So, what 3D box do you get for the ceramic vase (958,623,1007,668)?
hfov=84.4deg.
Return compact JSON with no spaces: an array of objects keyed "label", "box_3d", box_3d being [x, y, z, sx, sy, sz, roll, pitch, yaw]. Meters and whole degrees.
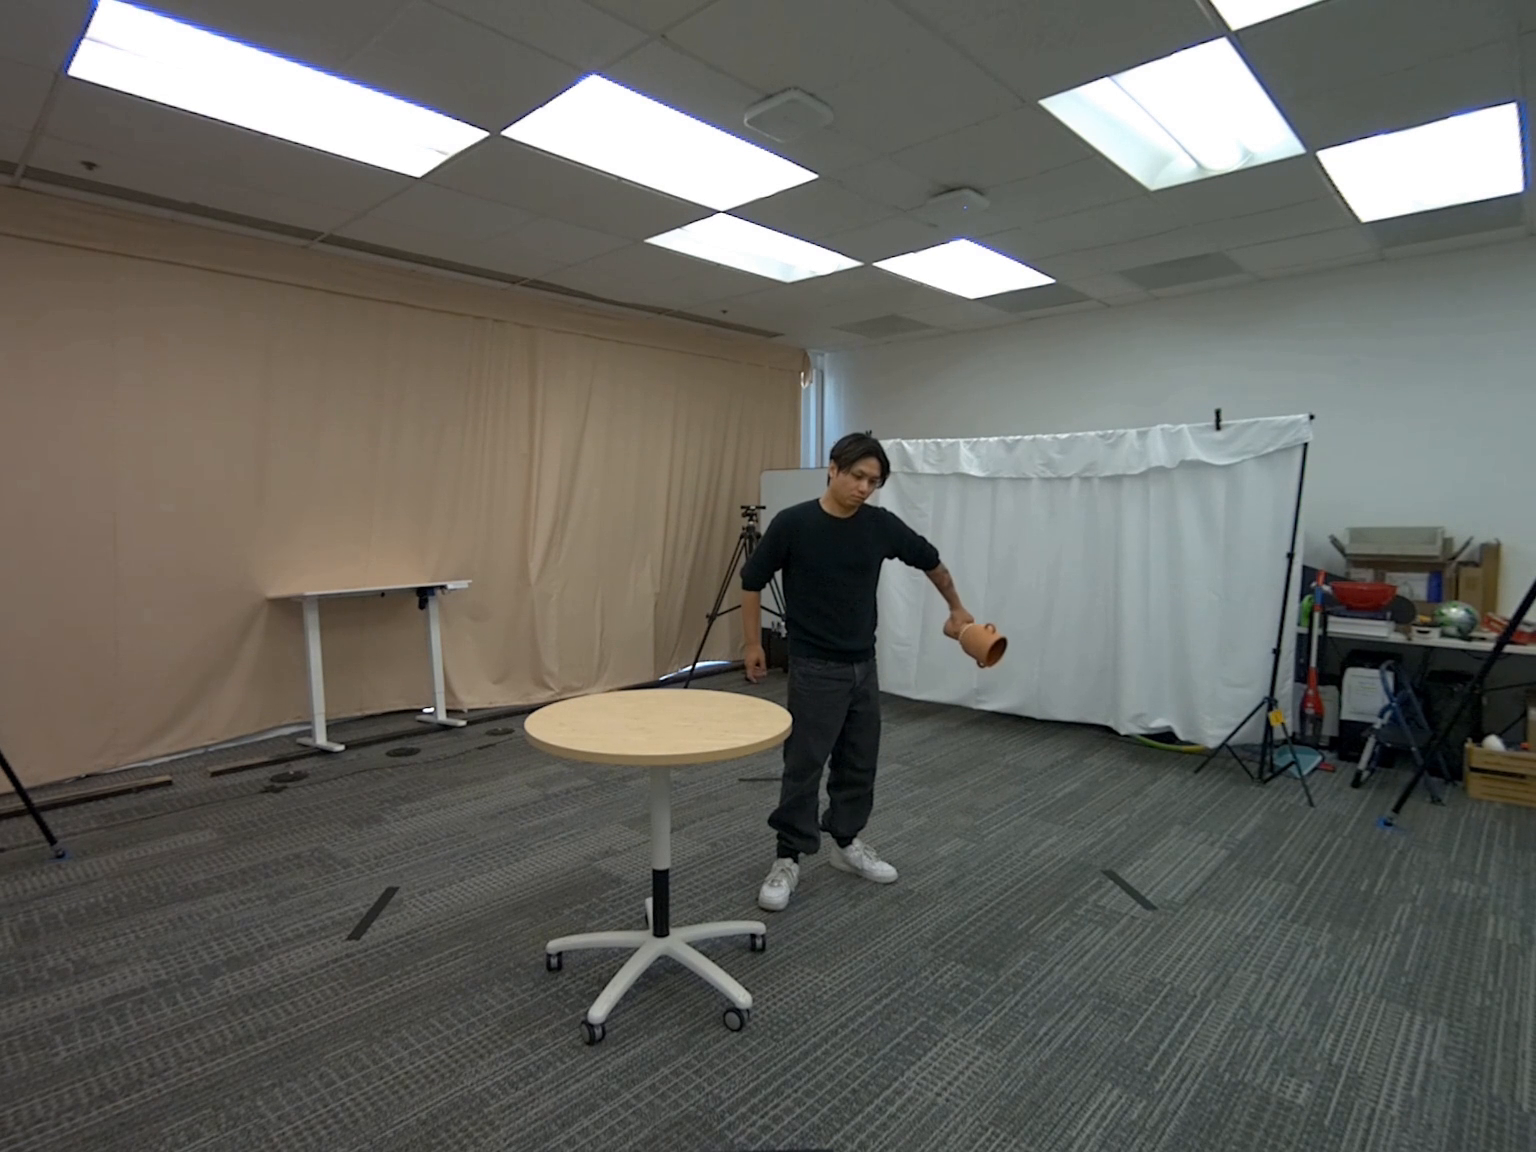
[{"label":"ceramic vase","box_3d":[0.786,0.237,3.242,0.228,0.159,0.130,34,-2,44]}]
